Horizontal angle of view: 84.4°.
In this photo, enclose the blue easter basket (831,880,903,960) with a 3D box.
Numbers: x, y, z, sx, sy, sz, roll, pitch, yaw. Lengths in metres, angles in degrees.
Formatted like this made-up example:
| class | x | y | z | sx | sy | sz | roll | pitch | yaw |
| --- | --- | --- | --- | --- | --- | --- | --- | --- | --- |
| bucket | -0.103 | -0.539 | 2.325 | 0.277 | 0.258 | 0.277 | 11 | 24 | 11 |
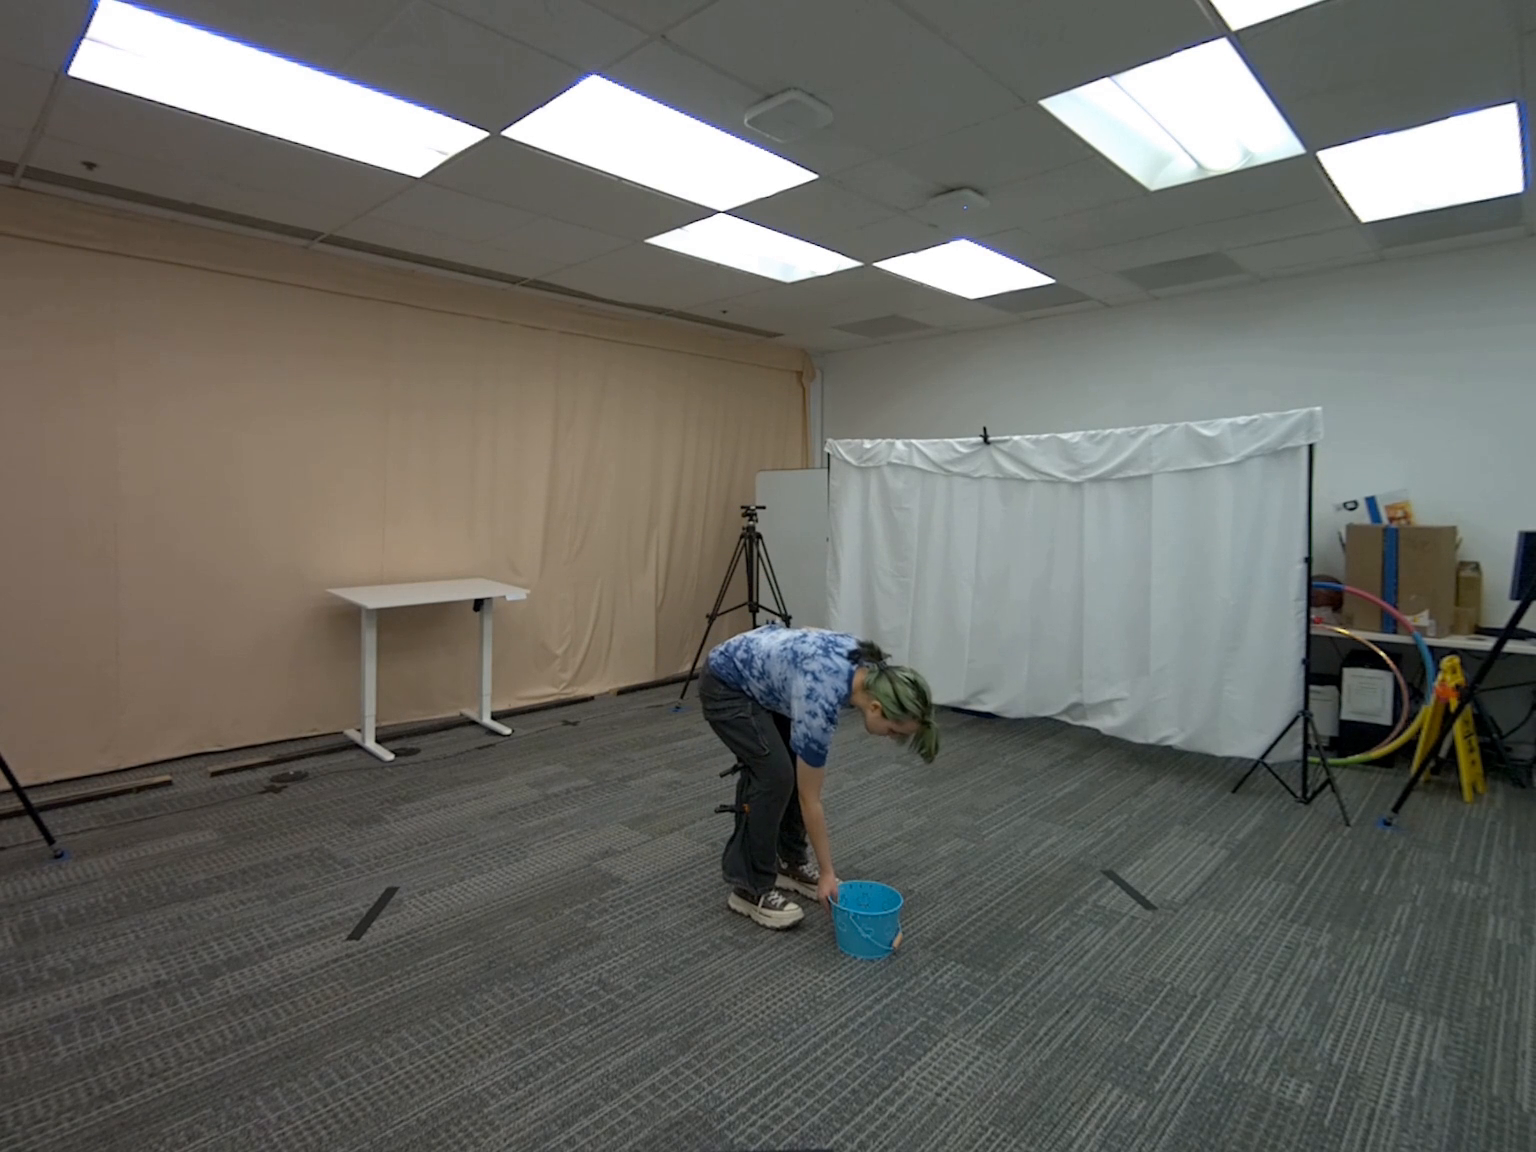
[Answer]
| class | x | y | z | sx | sy | sz | roll | pitch | yaw |
| --- | --- | --- | --- | --- | --- | --- | --- | --- | --- |
| blue easter basket | 0.317 | 1.092 | 2.667 | 0.243 | 0.155 | 0.244 | 0 | 3 | -2 |
